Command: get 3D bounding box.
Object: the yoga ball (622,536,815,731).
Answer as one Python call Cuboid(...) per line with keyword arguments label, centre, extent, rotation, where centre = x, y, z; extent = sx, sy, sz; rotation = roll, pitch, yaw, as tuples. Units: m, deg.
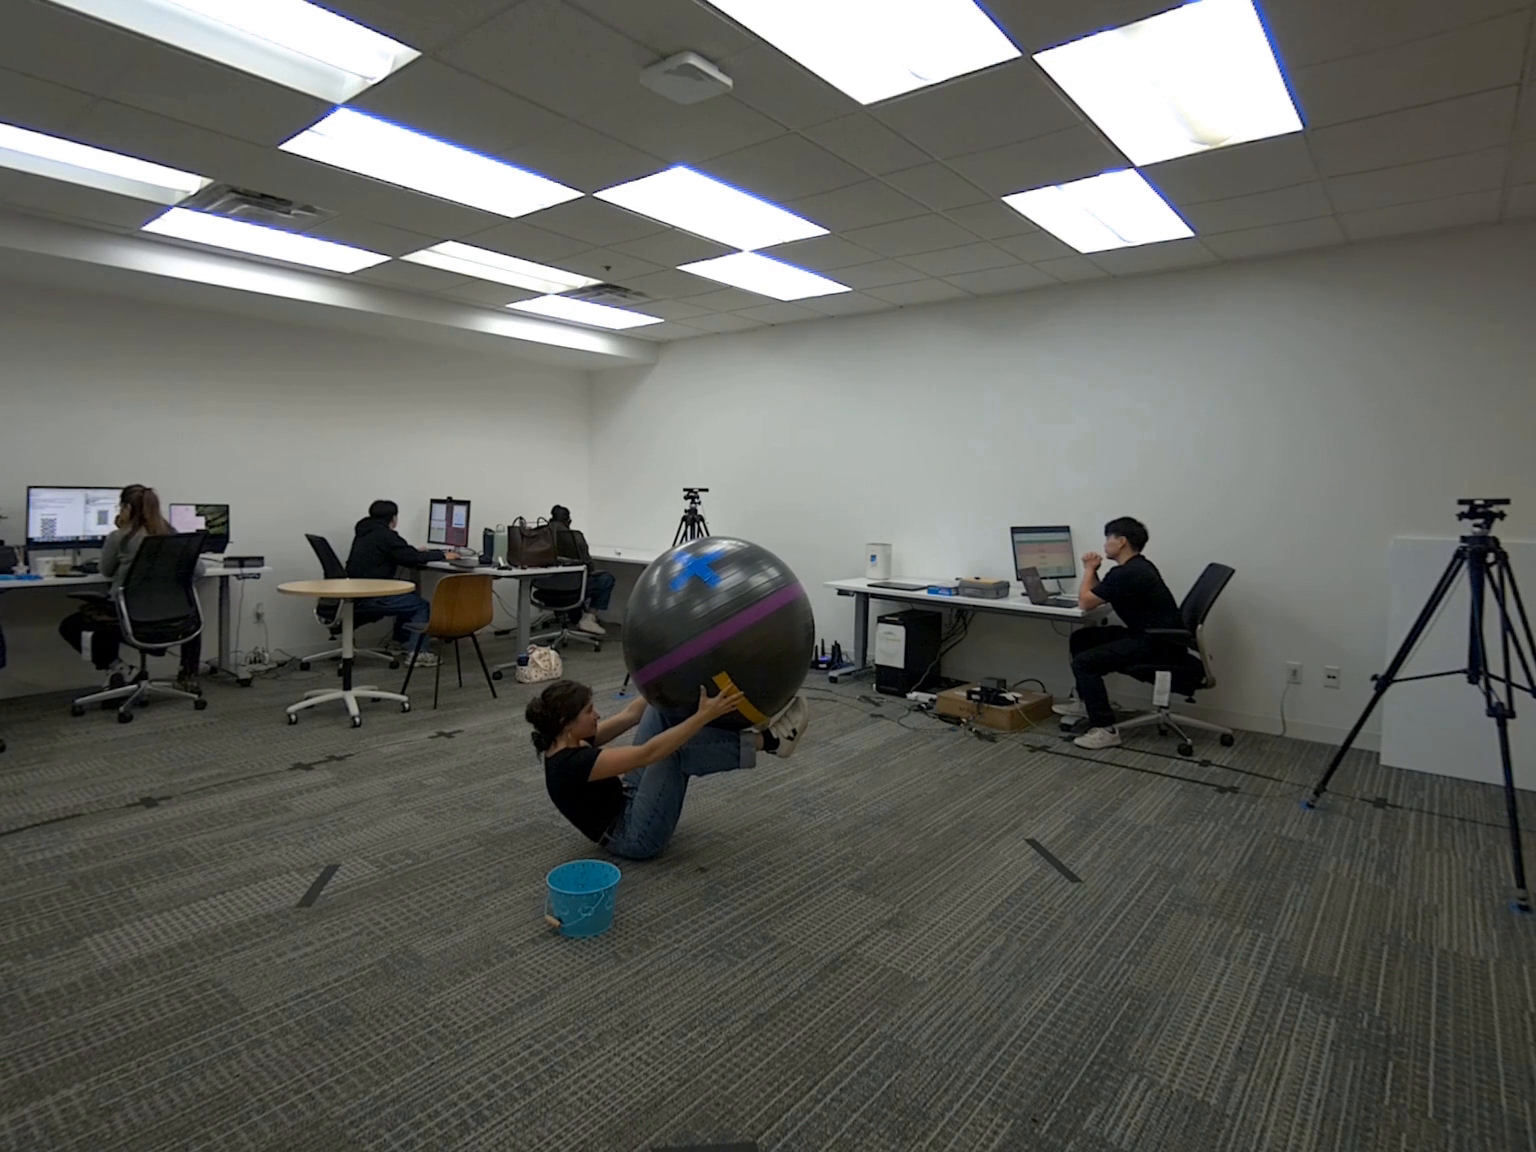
Cuboid(label="yoga ball", centre=(-0.209, 0.228, 3.329), extent=(0.757, 0.756, 0.761), rotation=(1, 4, -2))
